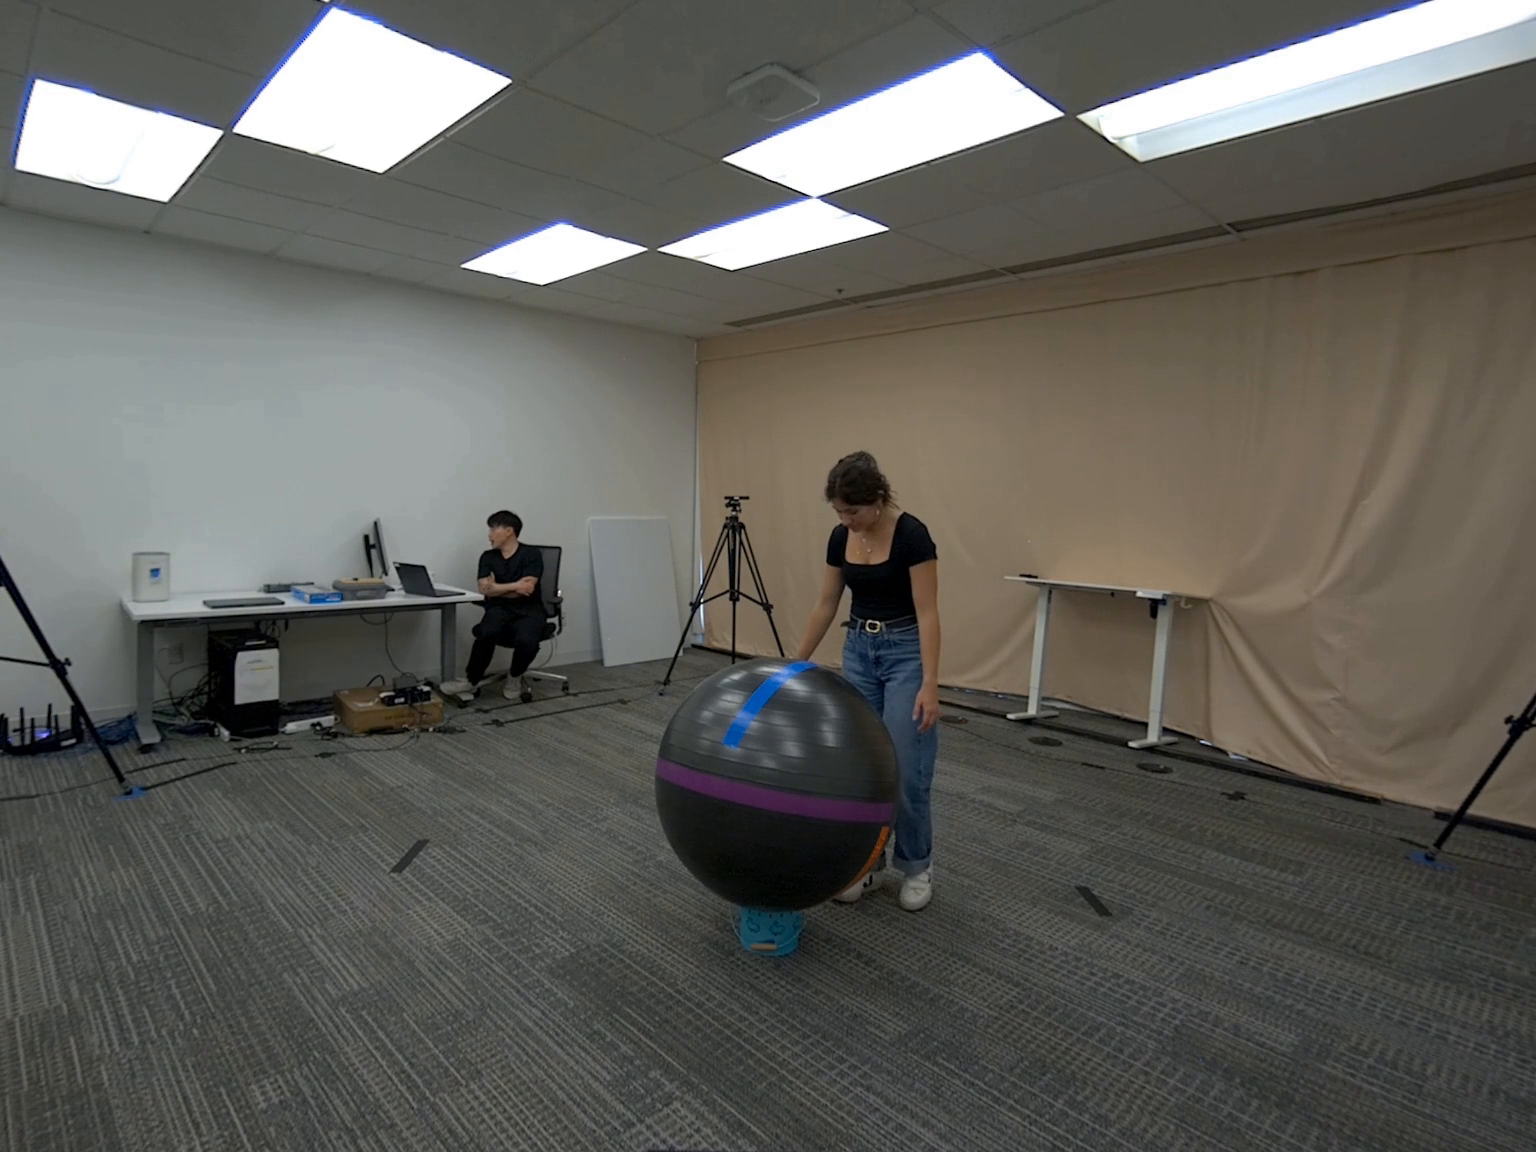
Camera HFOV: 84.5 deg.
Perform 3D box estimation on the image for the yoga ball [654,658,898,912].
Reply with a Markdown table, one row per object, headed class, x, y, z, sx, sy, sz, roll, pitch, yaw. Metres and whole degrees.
| class | x | y | z | sx | sy | sz | roll | pitch | yaw |
| --- | --- | --- | --- | --- | --- | --- | --- | --- | --- |
| yoga ball | 0.022 | 0.641 | 2.622 | 0.757 | 0.756 | 0.761 | 1 | 4 | -1 |
